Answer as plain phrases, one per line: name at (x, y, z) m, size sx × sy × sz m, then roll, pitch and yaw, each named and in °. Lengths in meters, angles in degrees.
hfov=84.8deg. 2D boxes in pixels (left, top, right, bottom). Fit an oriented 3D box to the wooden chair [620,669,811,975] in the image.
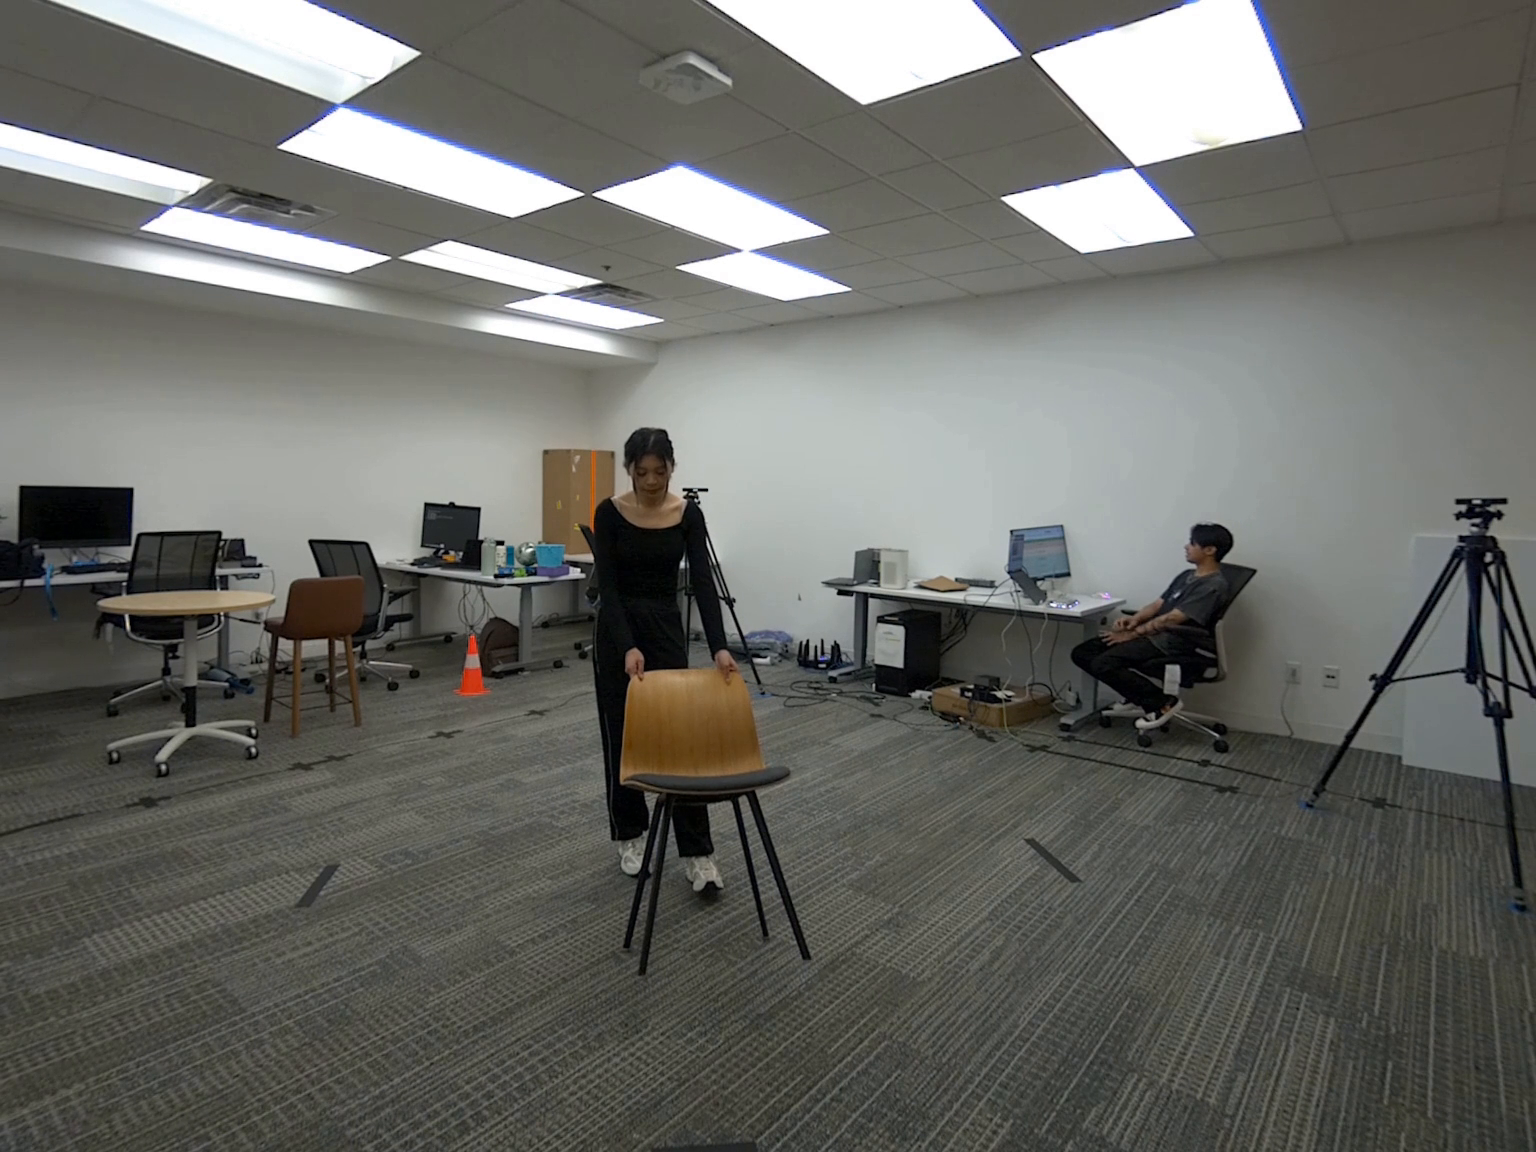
wooden chair at (-0.196, 0.647, 2.508) m, size 0.472 × 0.896 × 0.519 m, roll 0°, pitch -21°, yaw -13°
